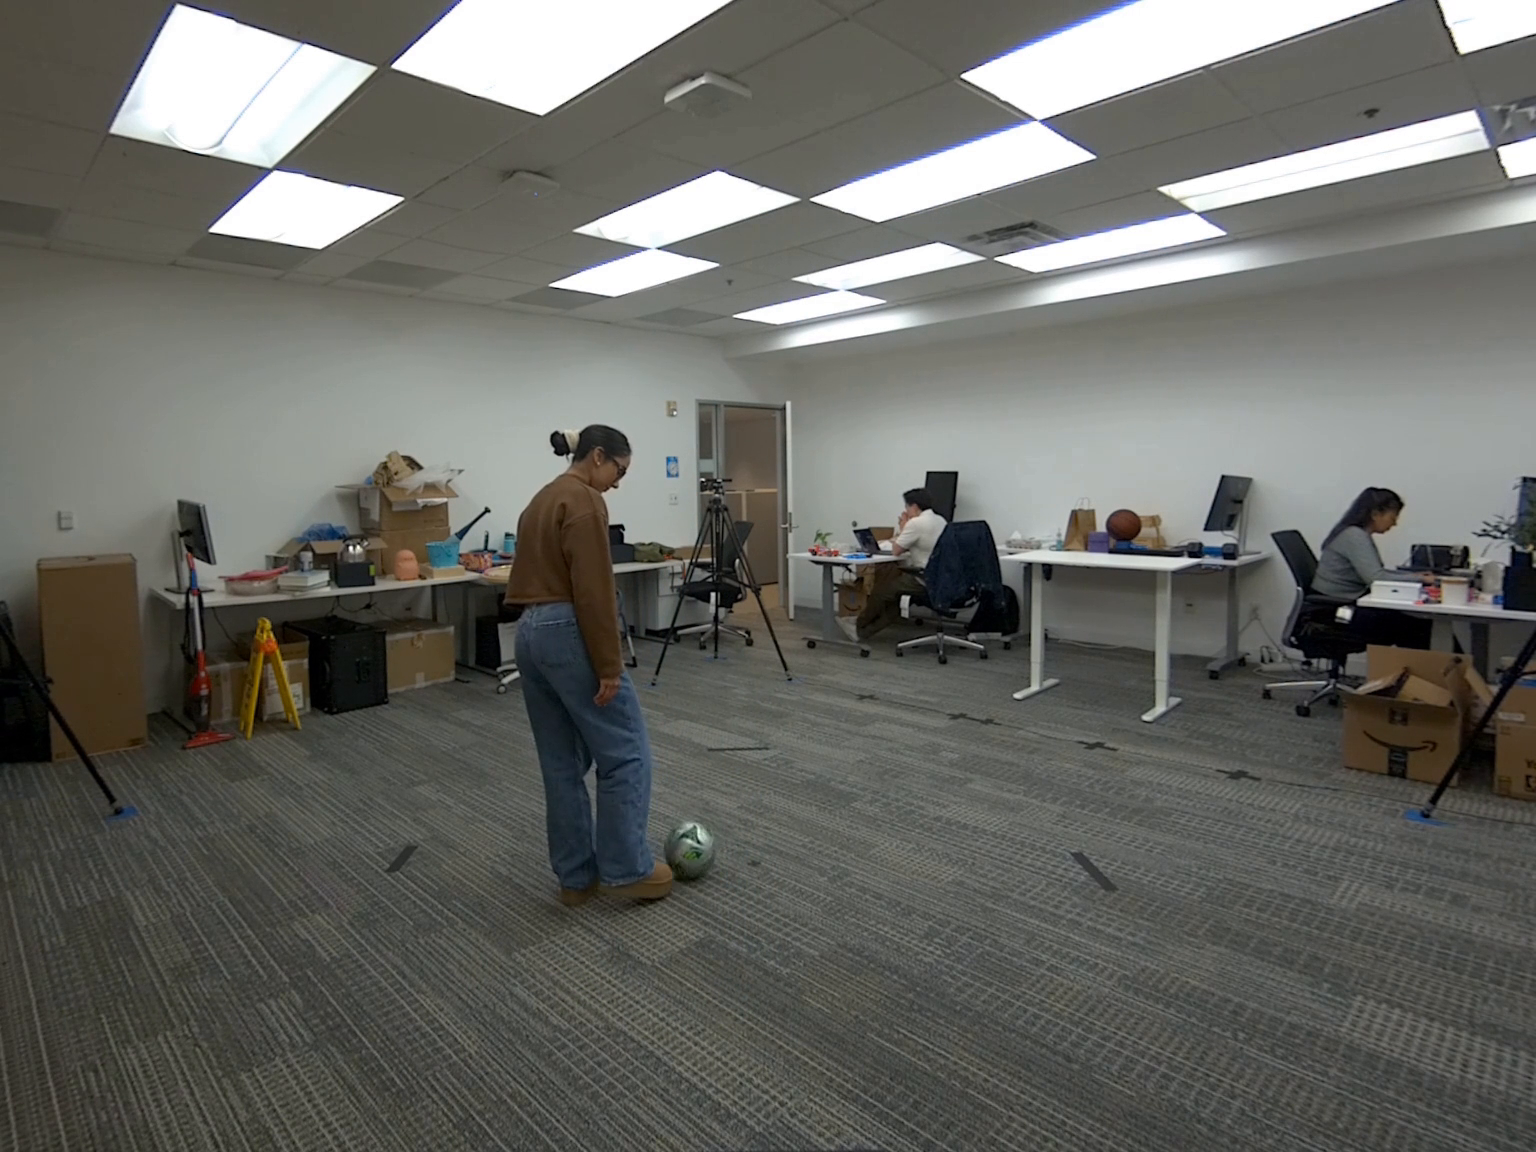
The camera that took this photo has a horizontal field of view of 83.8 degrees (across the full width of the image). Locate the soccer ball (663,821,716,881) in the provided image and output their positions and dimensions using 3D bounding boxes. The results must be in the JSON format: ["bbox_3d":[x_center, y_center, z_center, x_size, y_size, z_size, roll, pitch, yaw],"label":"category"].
[{"bbox_3d":[-0.265,0.963,3.008,0.187,0.187,0.188,-1,5,-2],"label":"soccer ball"}]
